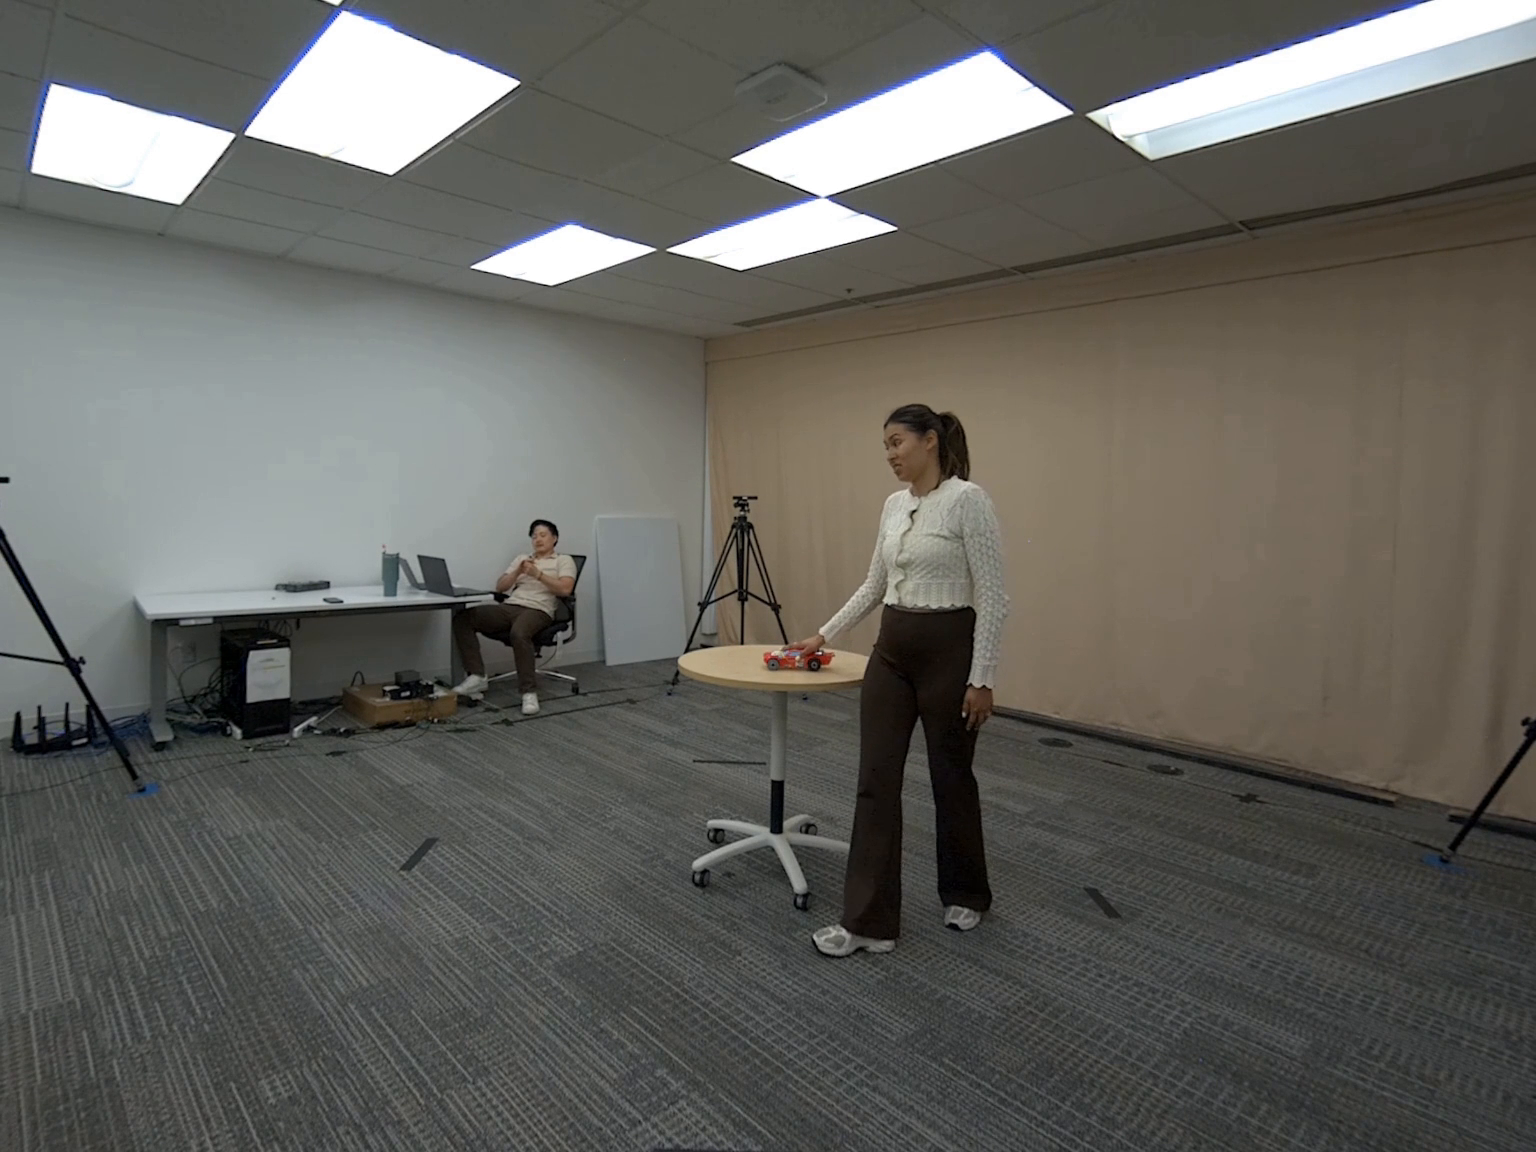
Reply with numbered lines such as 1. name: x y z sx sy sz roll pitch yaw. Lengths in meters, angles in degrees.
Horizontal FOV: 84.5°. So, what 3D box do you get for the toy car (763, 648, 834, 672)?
1. toy car: 0.108 0.298 3.007 0.255 0.083 0.130 -9 6 3
